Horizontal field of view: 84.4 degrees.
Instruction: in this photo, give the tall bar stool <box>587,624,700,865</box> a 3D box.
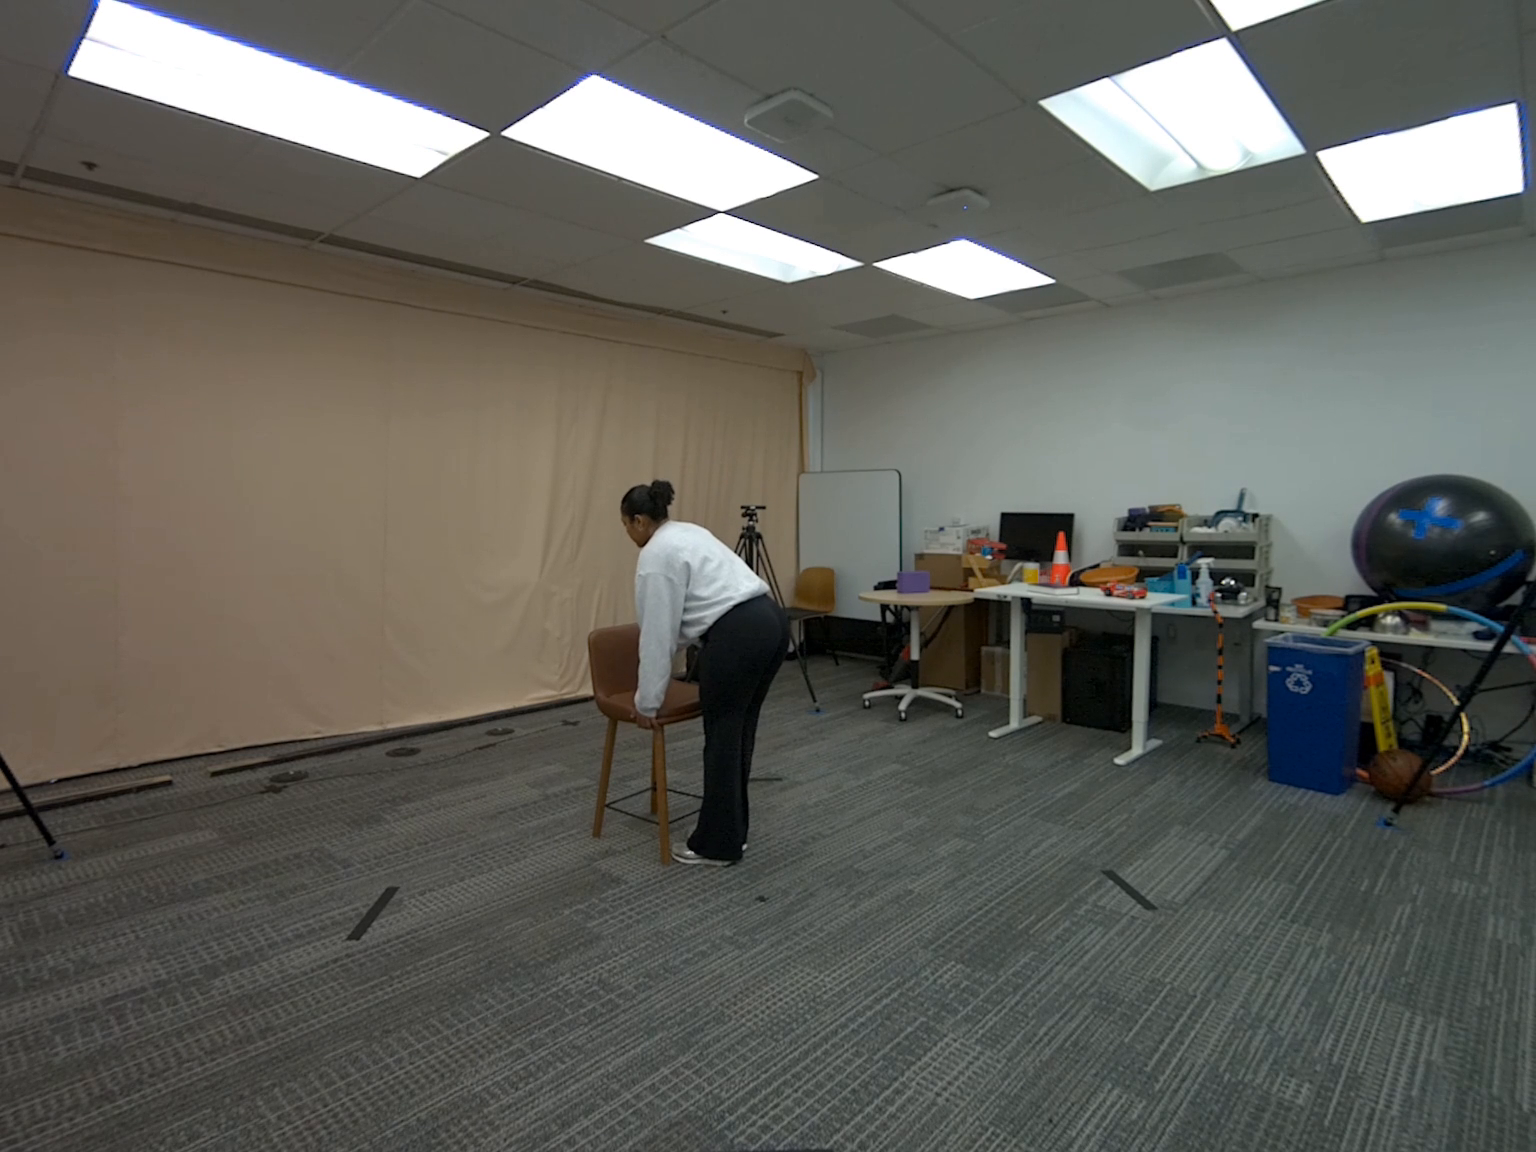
[{"bbox_3d":[-0.464,0.659,3.536,0.482,0.889,0.443,-1,2,40],"label":"tall bar stool"}]
